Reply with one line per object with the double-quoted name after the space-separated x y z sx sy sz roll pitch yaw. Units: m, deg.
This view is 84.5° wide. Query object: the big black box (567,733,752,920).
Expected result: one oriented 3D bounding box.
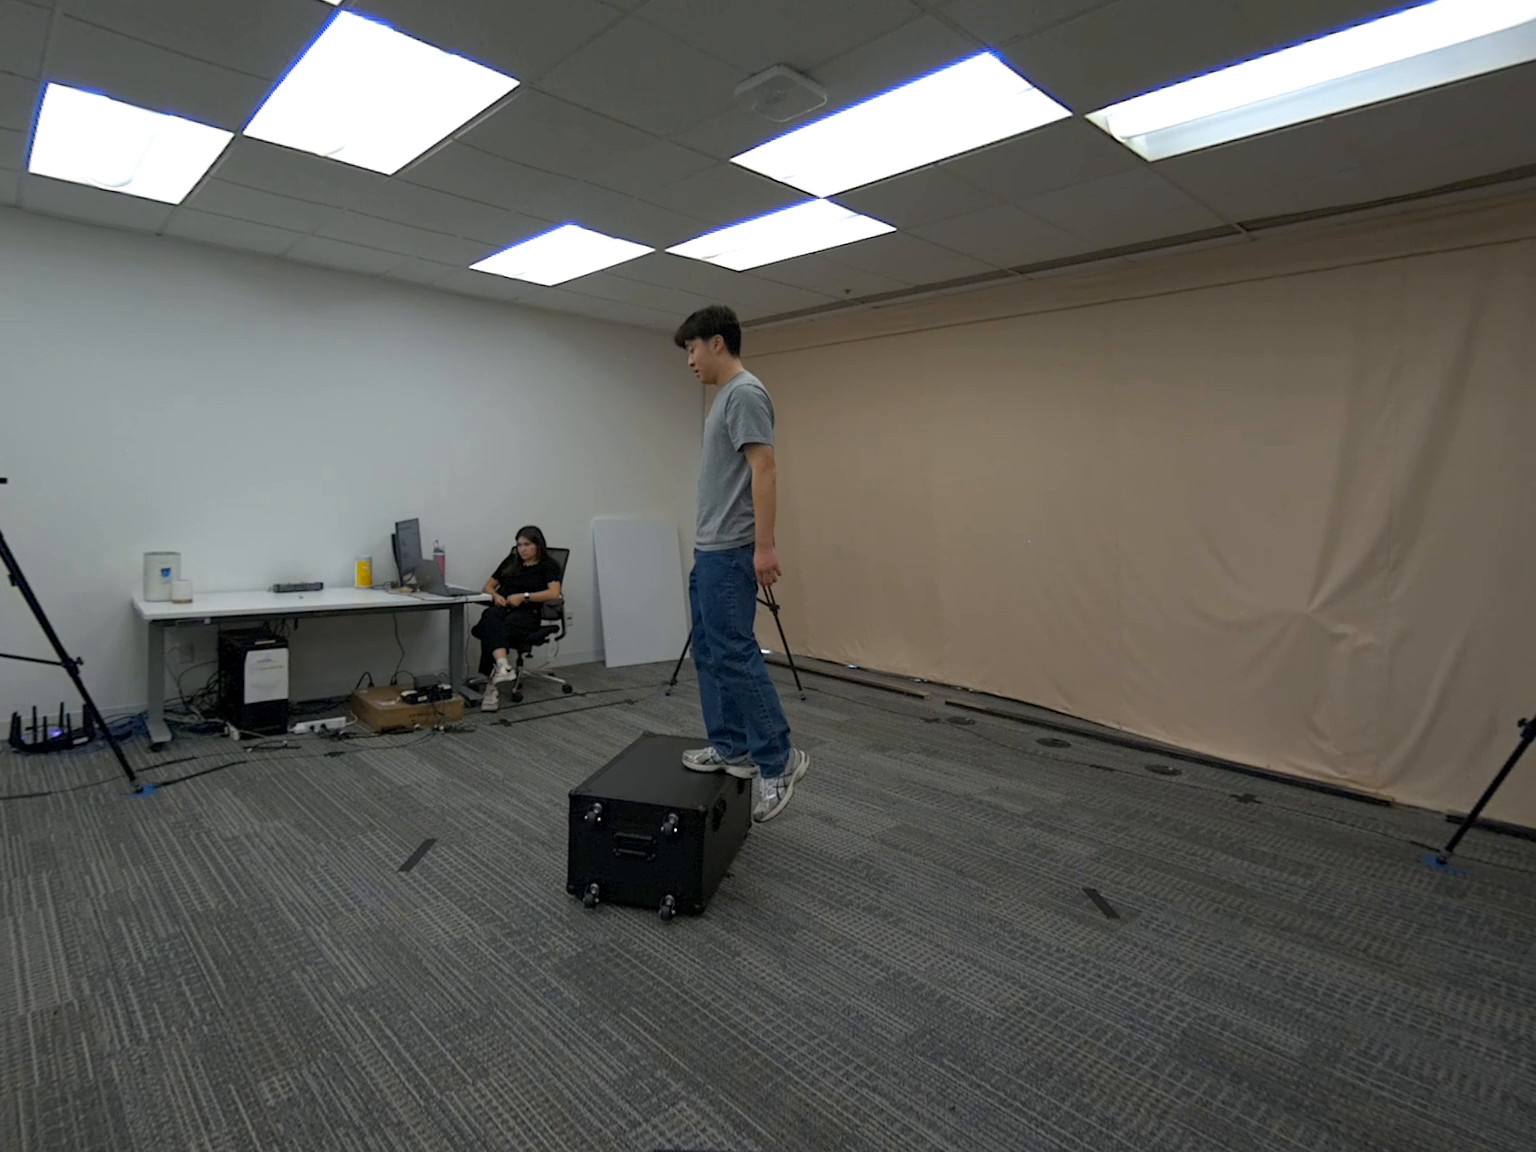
-0.385 0.902 3.154 0.527 0.395 0.855 3 5 12 "big black box"
